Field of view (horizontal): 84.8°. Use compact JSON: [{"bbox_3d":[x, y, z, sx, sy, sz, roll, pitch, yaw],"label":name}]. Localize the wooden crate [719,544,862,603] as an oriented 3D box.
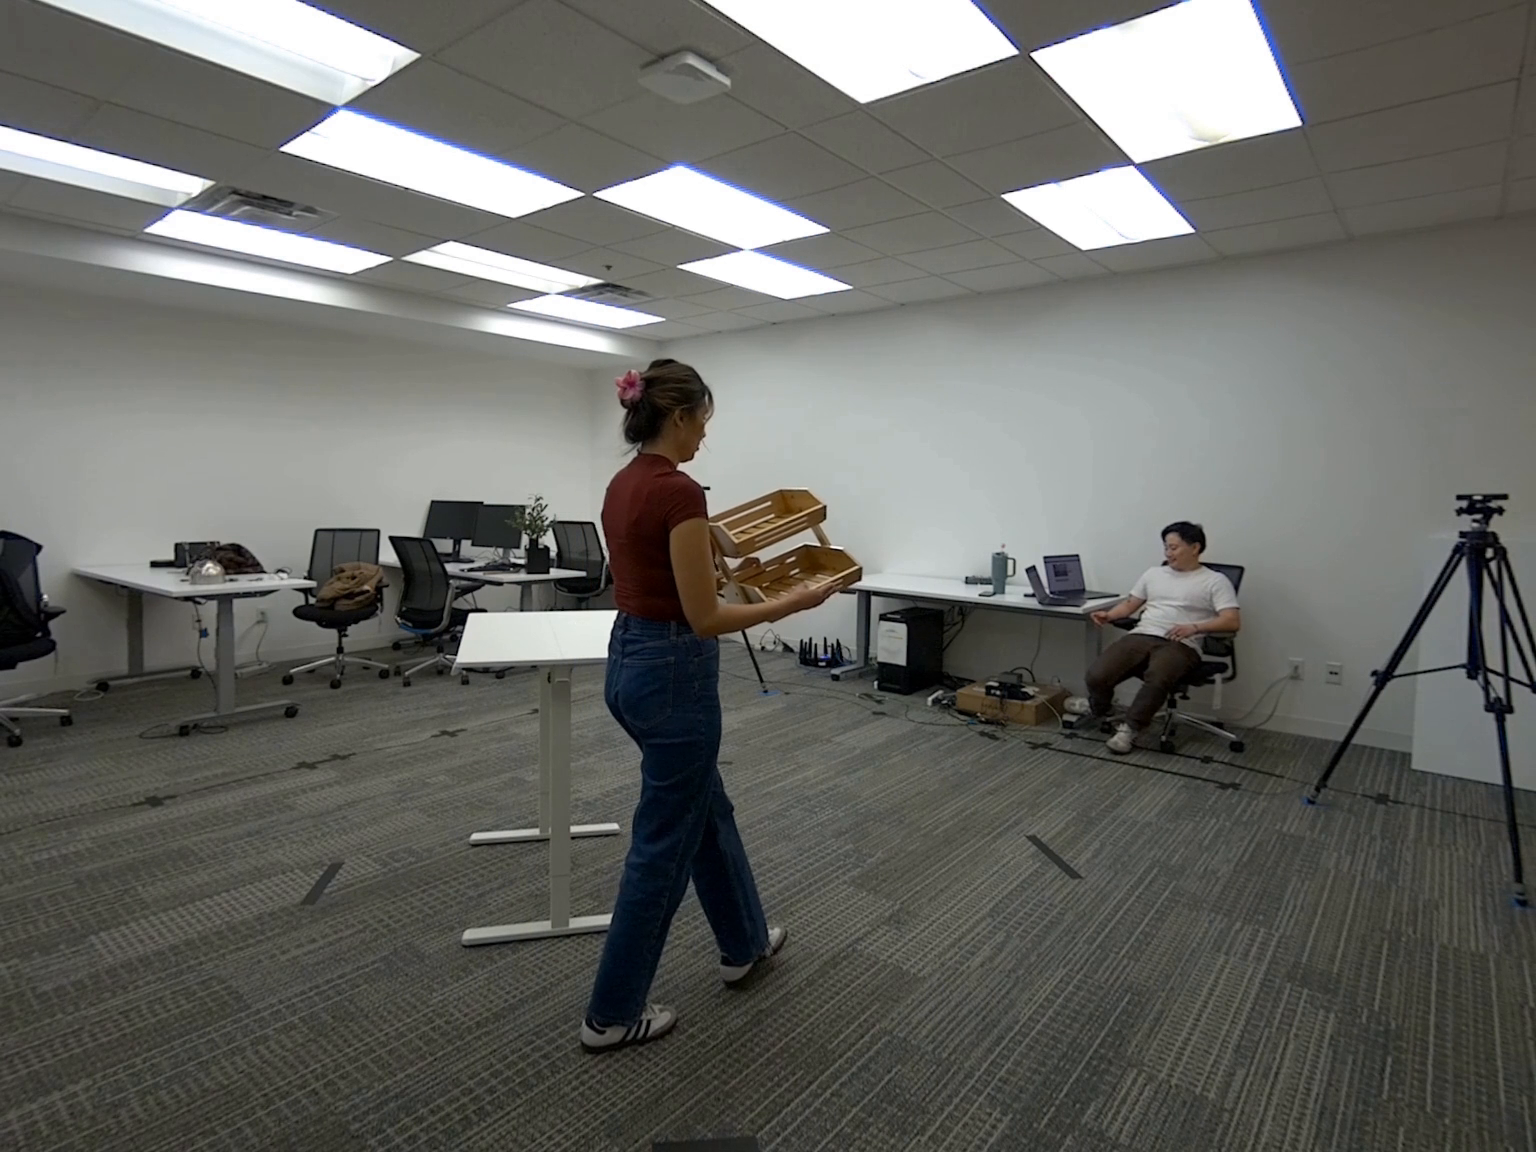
[{"bbox_3d":[0.023,-0.073,2.326,0.320,0.269,0.311,-23,15,-24],"label":"wooden crate"}]
